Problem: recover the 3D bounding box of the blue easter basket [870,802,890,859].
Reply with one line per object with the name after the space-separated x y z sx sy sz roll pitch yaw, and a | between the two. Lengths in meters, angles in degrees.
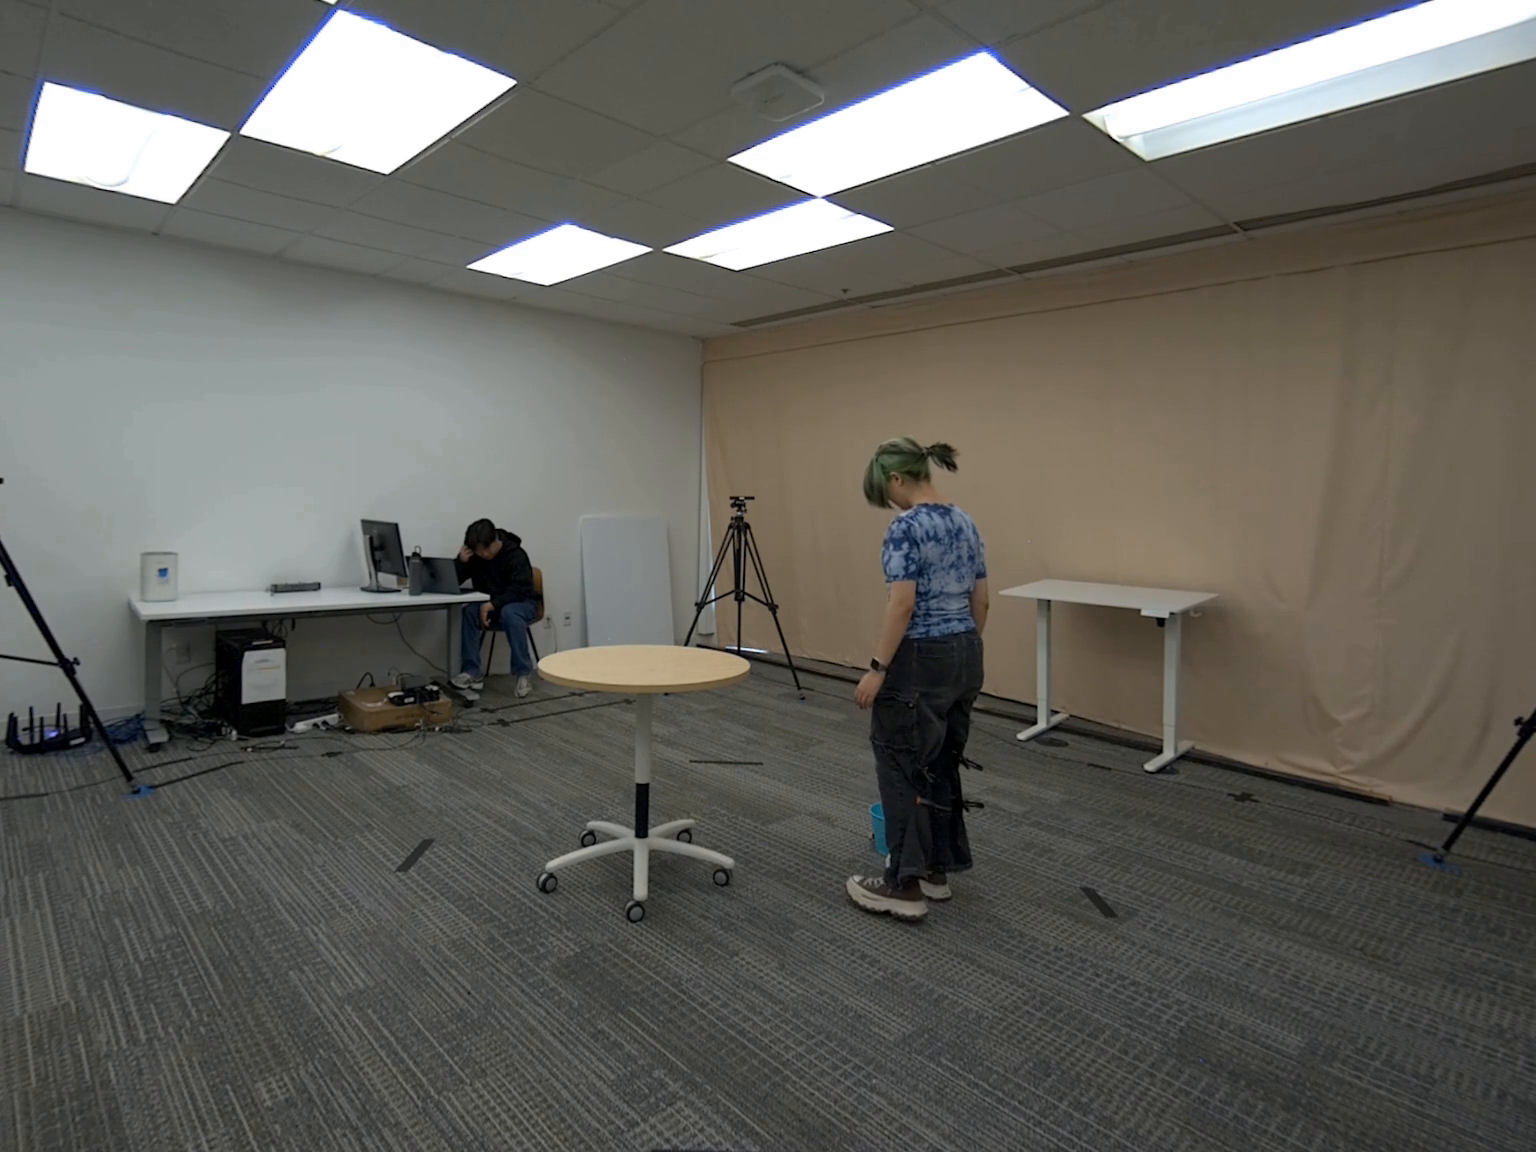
0.512 1.017 3.382 0.243 0.155 0.244 1 4 -1 | blue easter basket
